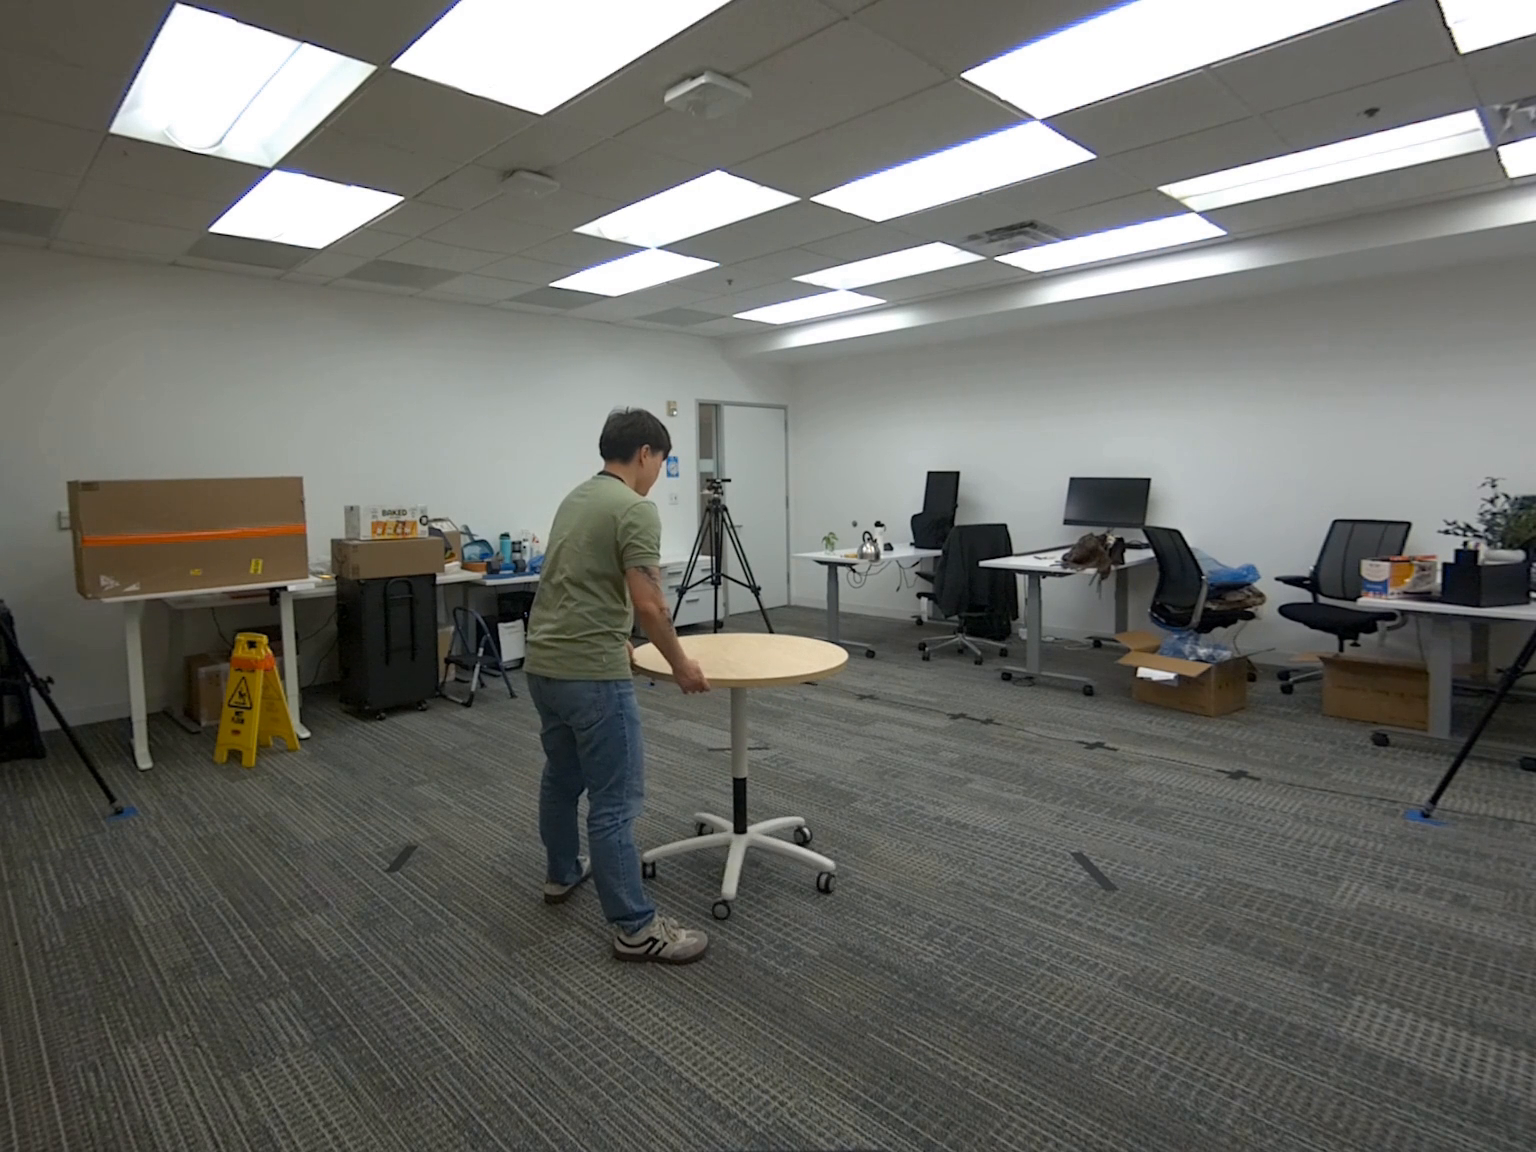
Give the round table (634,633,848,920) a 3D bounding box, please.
[{"bbox_3d":[-0.095,0.665,3.028,0.763,0.791,0.768,-1,5,-2],"label":"round table"}]
